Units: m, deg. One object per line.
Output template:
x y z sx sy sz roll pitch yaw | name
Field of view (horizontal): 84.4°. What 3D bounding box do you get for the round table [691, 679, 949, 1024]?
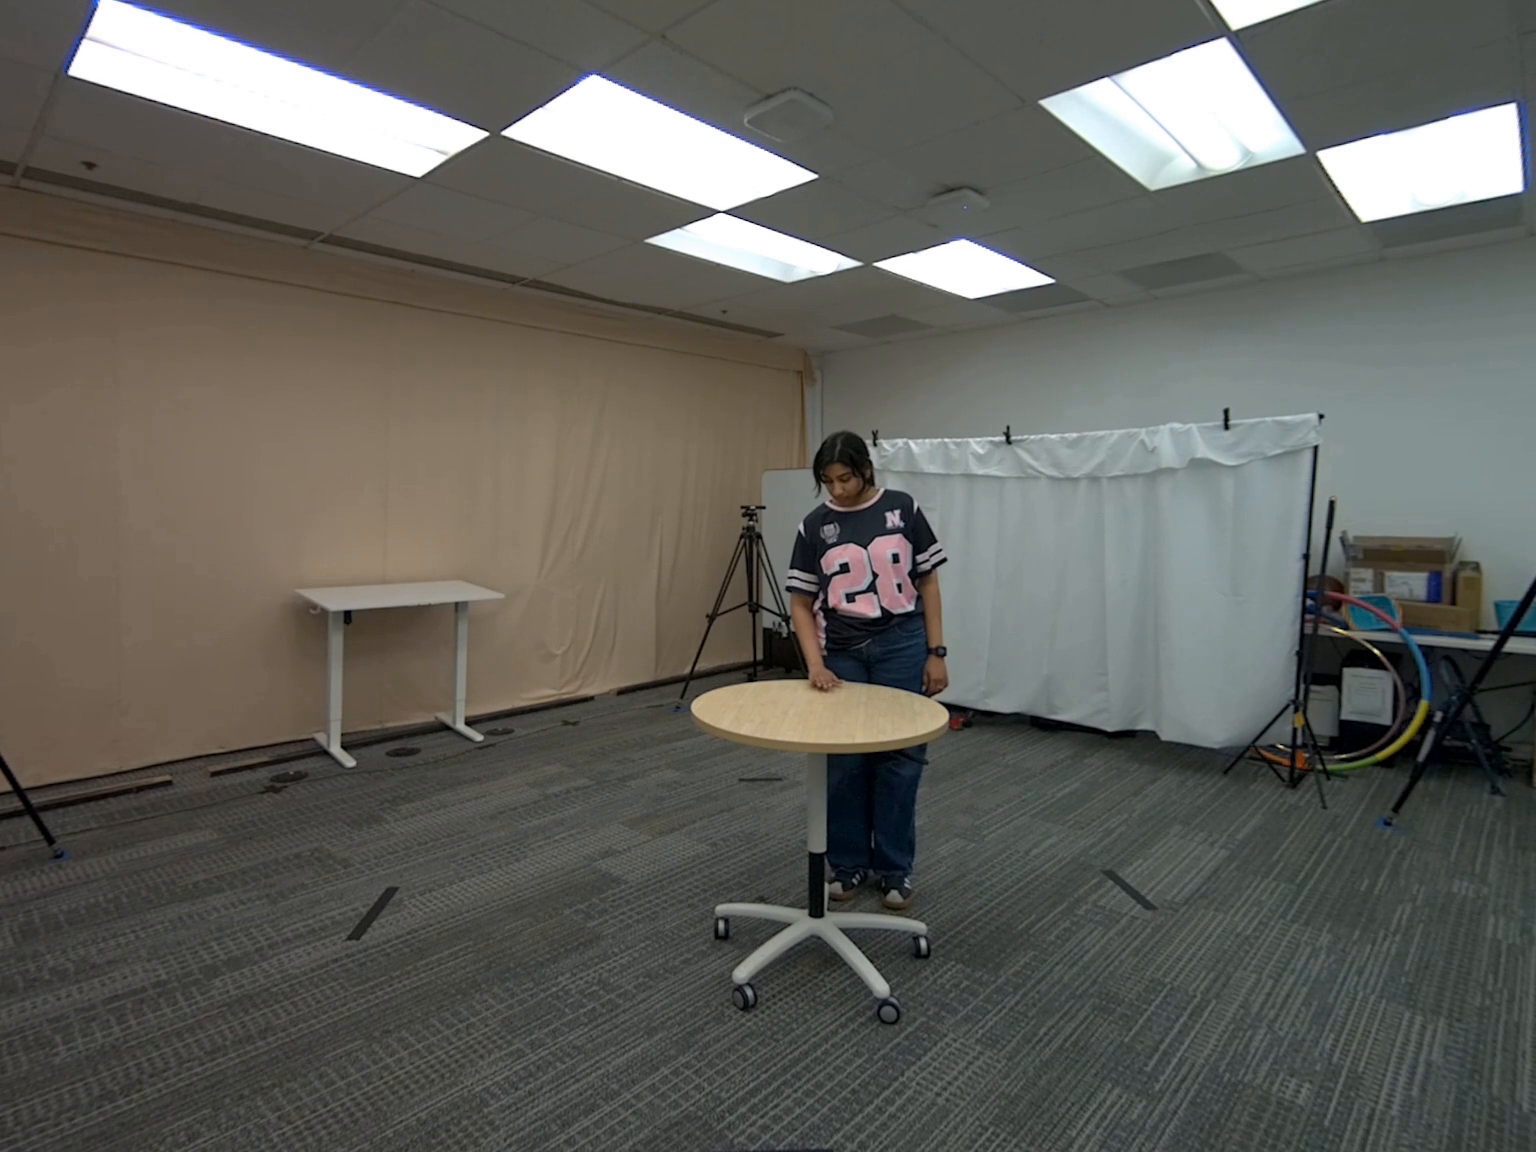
0.161 0.788 2.551 0.784 0.785 0.788 0 4 -2 | round table
